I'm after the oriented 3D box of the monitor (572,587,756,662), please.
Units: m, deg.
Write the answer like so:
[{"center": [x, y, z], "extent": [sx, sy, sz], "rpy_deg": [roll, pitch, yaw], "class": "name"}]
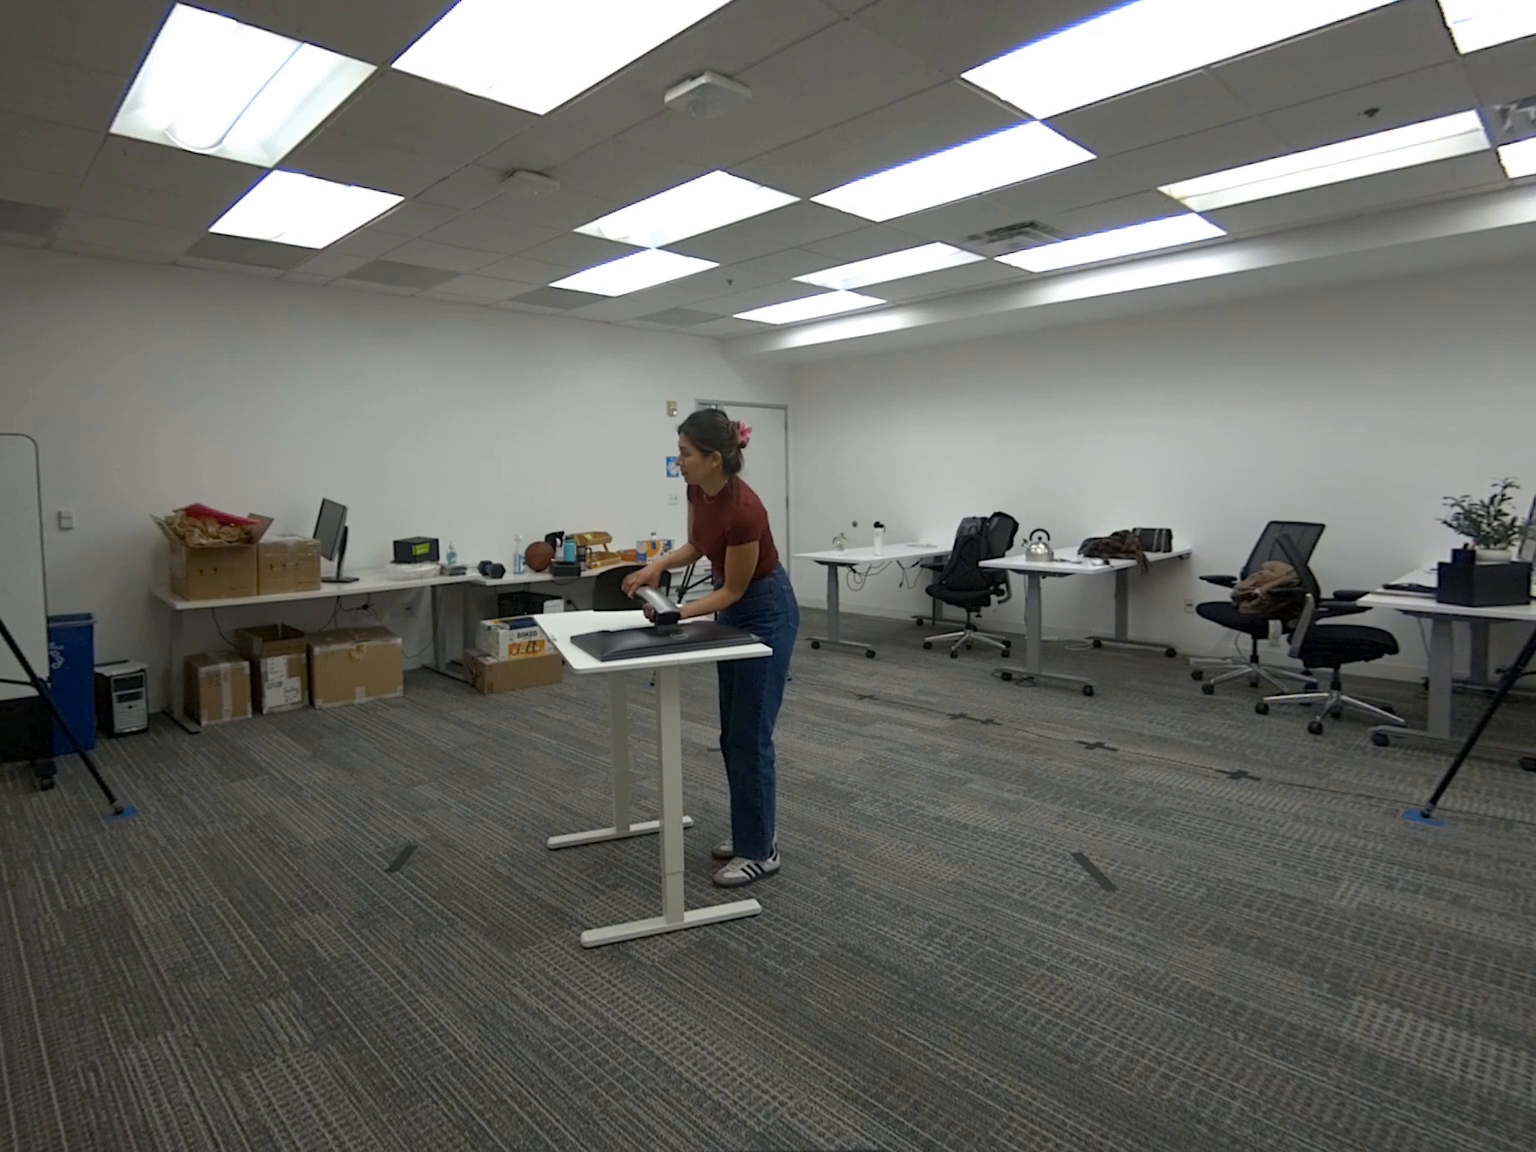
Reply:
[{"center": [-0.365, 0.144, 2.789], "extent": [0.528, 0.184, 0.541], "rpy_deg": [-5, 23, -25], "class": "monitor"}]
